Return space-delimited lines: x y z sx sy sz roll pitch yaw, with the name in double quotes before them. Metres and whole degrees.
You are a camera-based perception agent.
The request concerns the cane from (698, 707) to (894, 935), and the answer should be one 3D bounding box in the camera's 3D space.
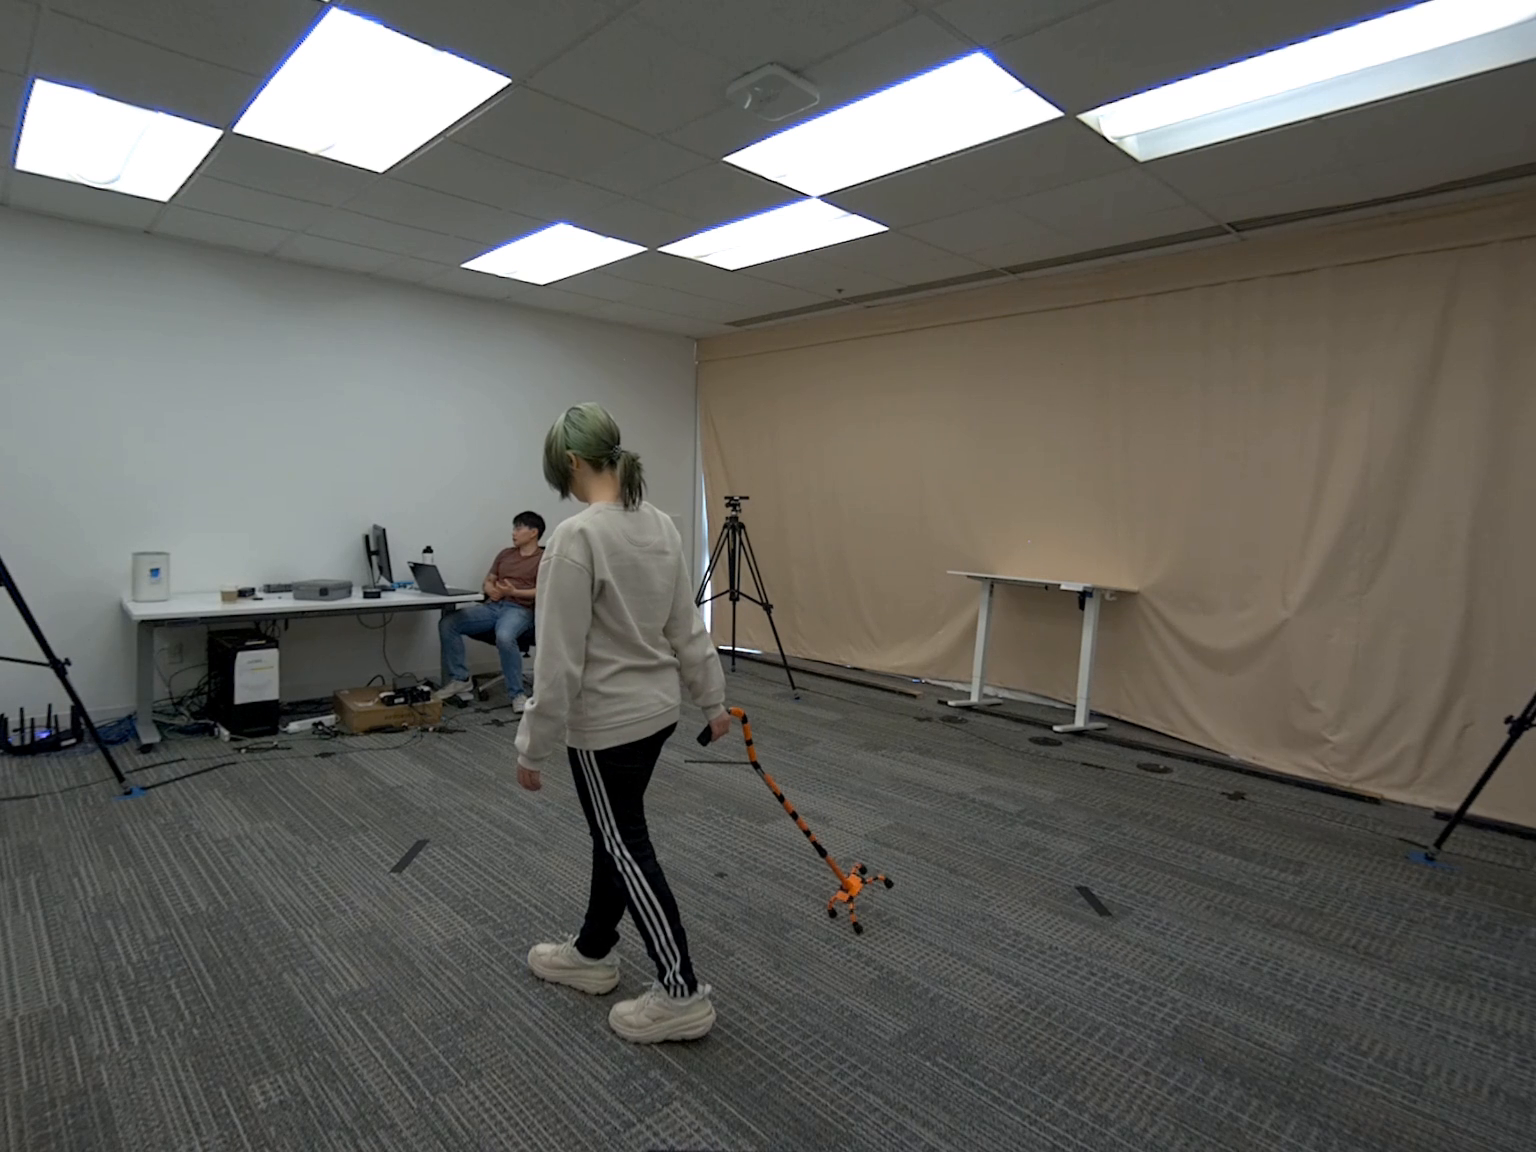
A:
"cane" 0.088 0.743 2.618 0.206 0.886 0.155 -46 28 -26
